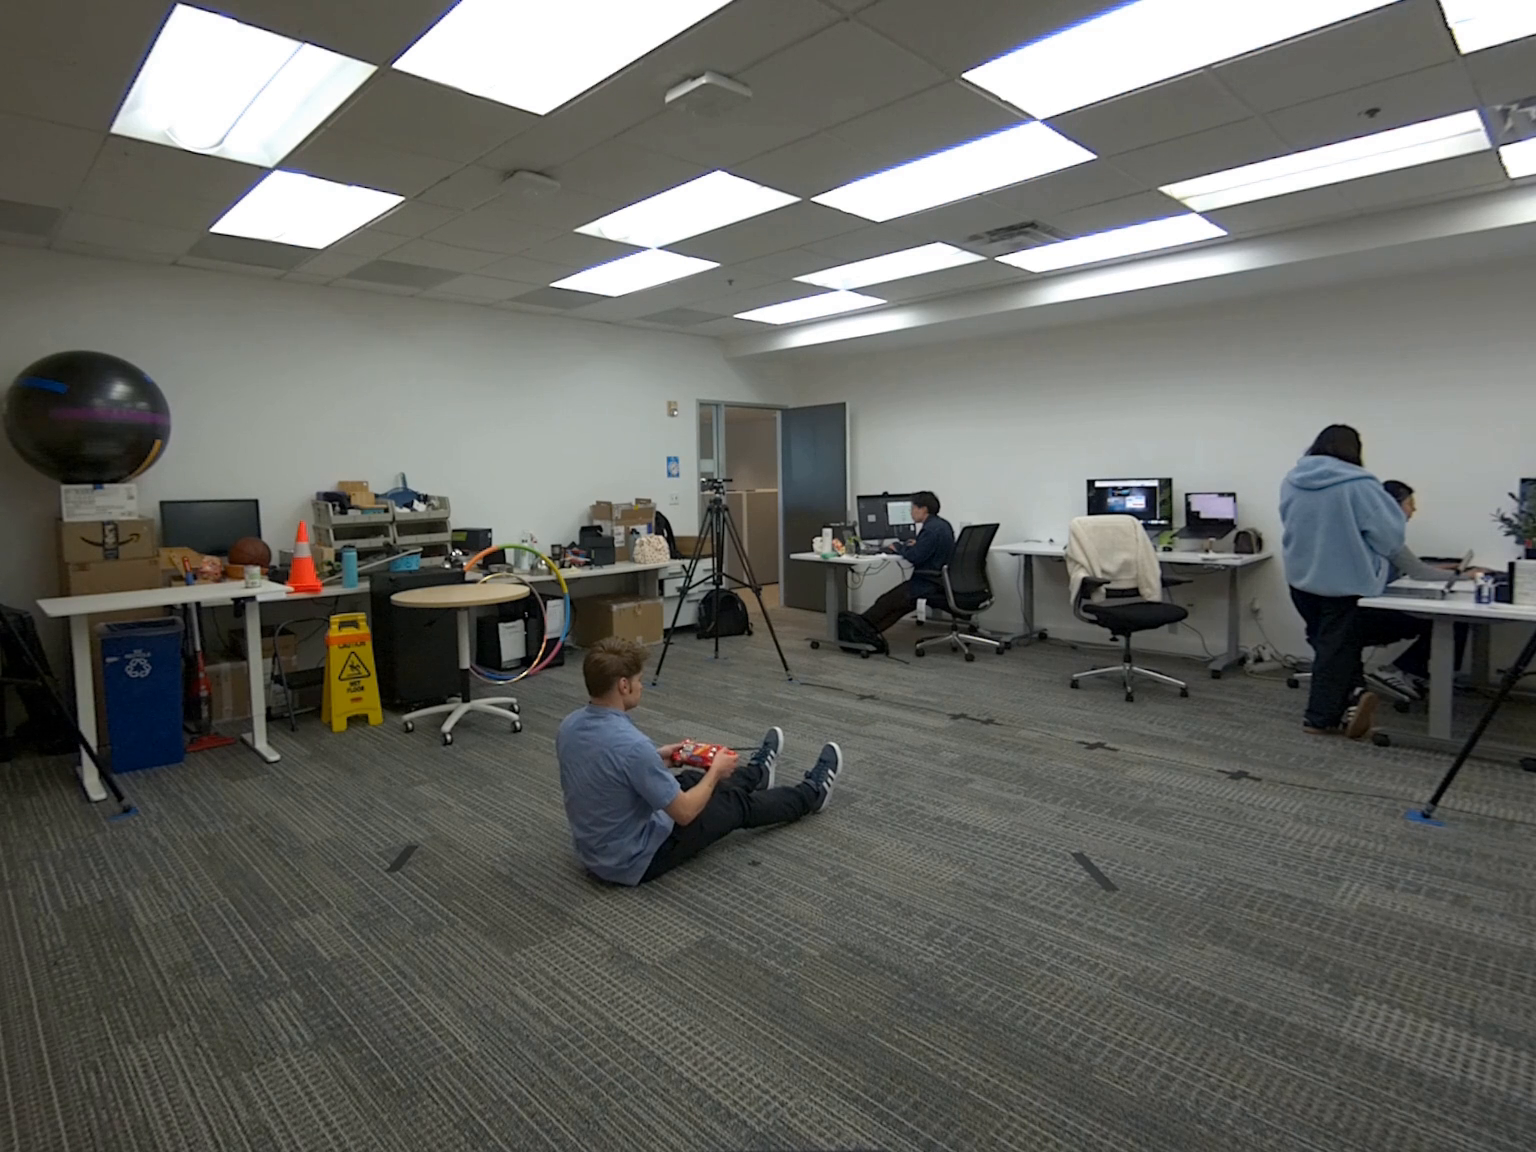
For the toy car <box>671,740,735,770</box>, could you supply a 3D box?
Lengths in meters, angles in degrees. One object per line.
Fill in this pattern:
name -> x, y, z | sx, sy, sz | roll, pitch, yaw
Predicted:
toy car -> -0.239, 0.701, 3.303 | 0.261, 0.081, 0.131 | -3, 31, 30
